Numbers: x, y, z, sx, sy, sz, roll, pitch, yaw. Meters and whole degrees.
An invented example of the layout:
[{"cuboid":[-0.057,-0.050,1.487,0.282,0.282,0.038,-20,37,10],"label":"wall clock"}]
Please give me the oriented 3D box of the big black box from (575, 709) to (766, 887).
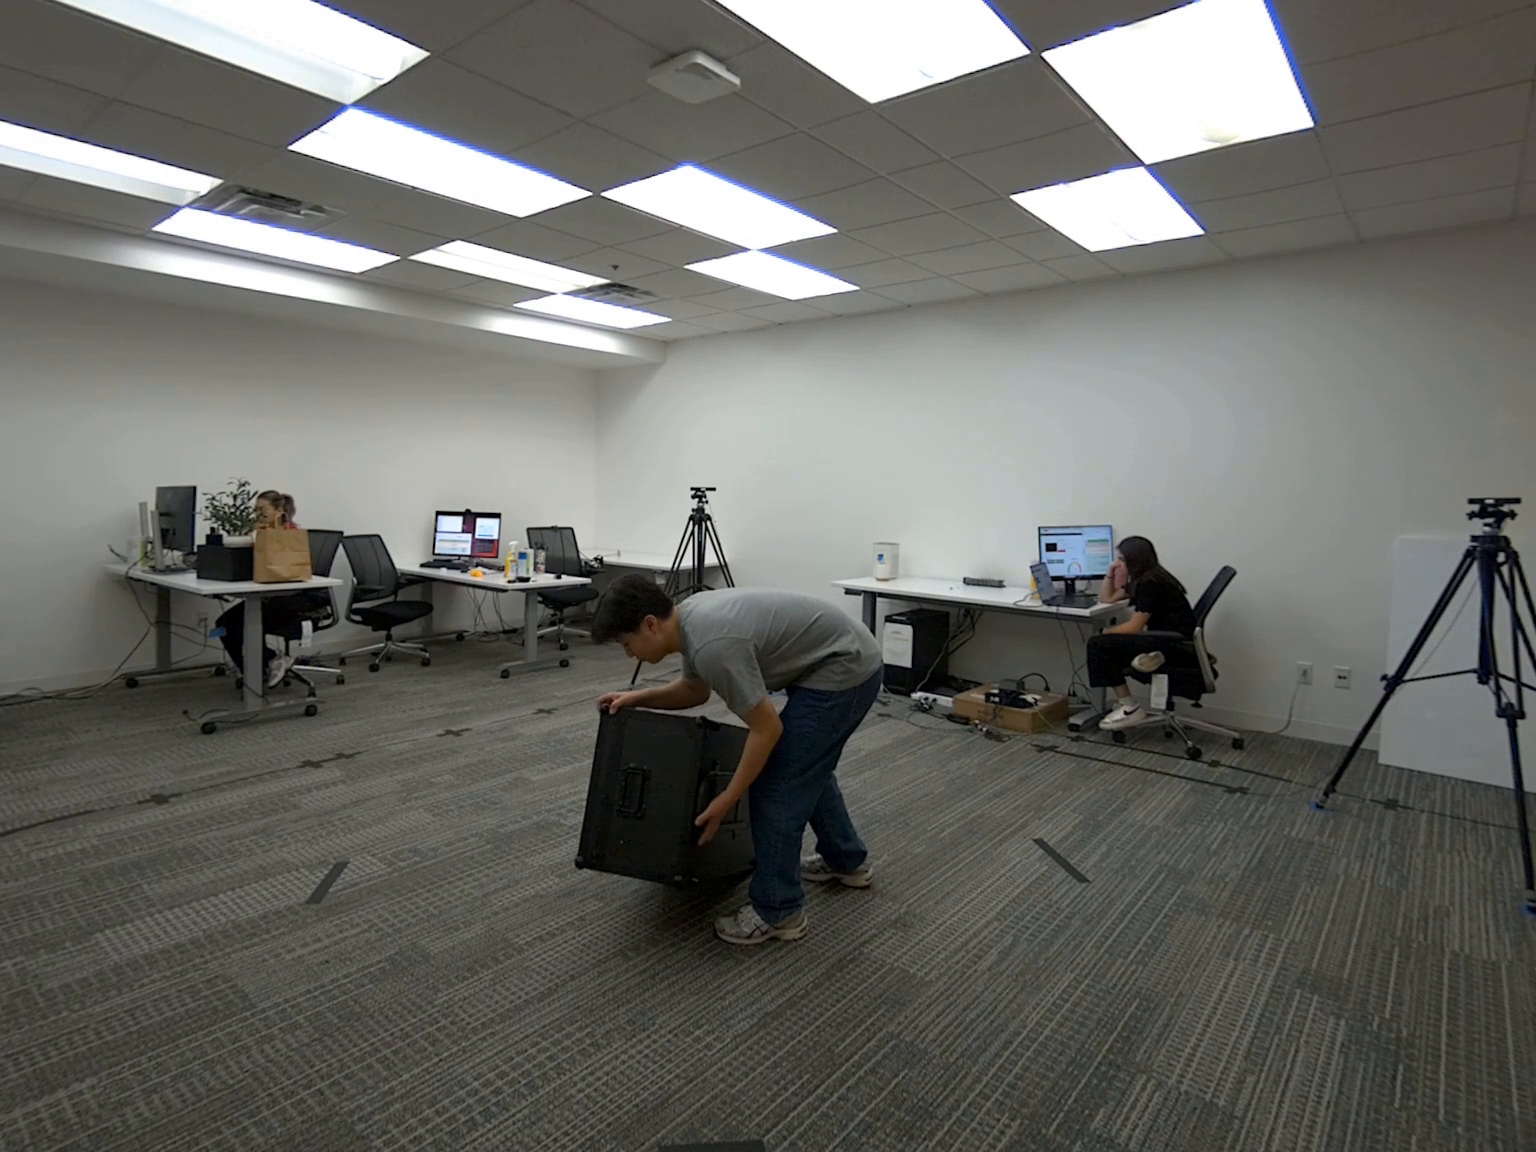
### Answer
[{"cuboid":[-0.273,0.742,2.926,0.405,0.526,0.834,3,-12,19],"label":"big black box"}]
